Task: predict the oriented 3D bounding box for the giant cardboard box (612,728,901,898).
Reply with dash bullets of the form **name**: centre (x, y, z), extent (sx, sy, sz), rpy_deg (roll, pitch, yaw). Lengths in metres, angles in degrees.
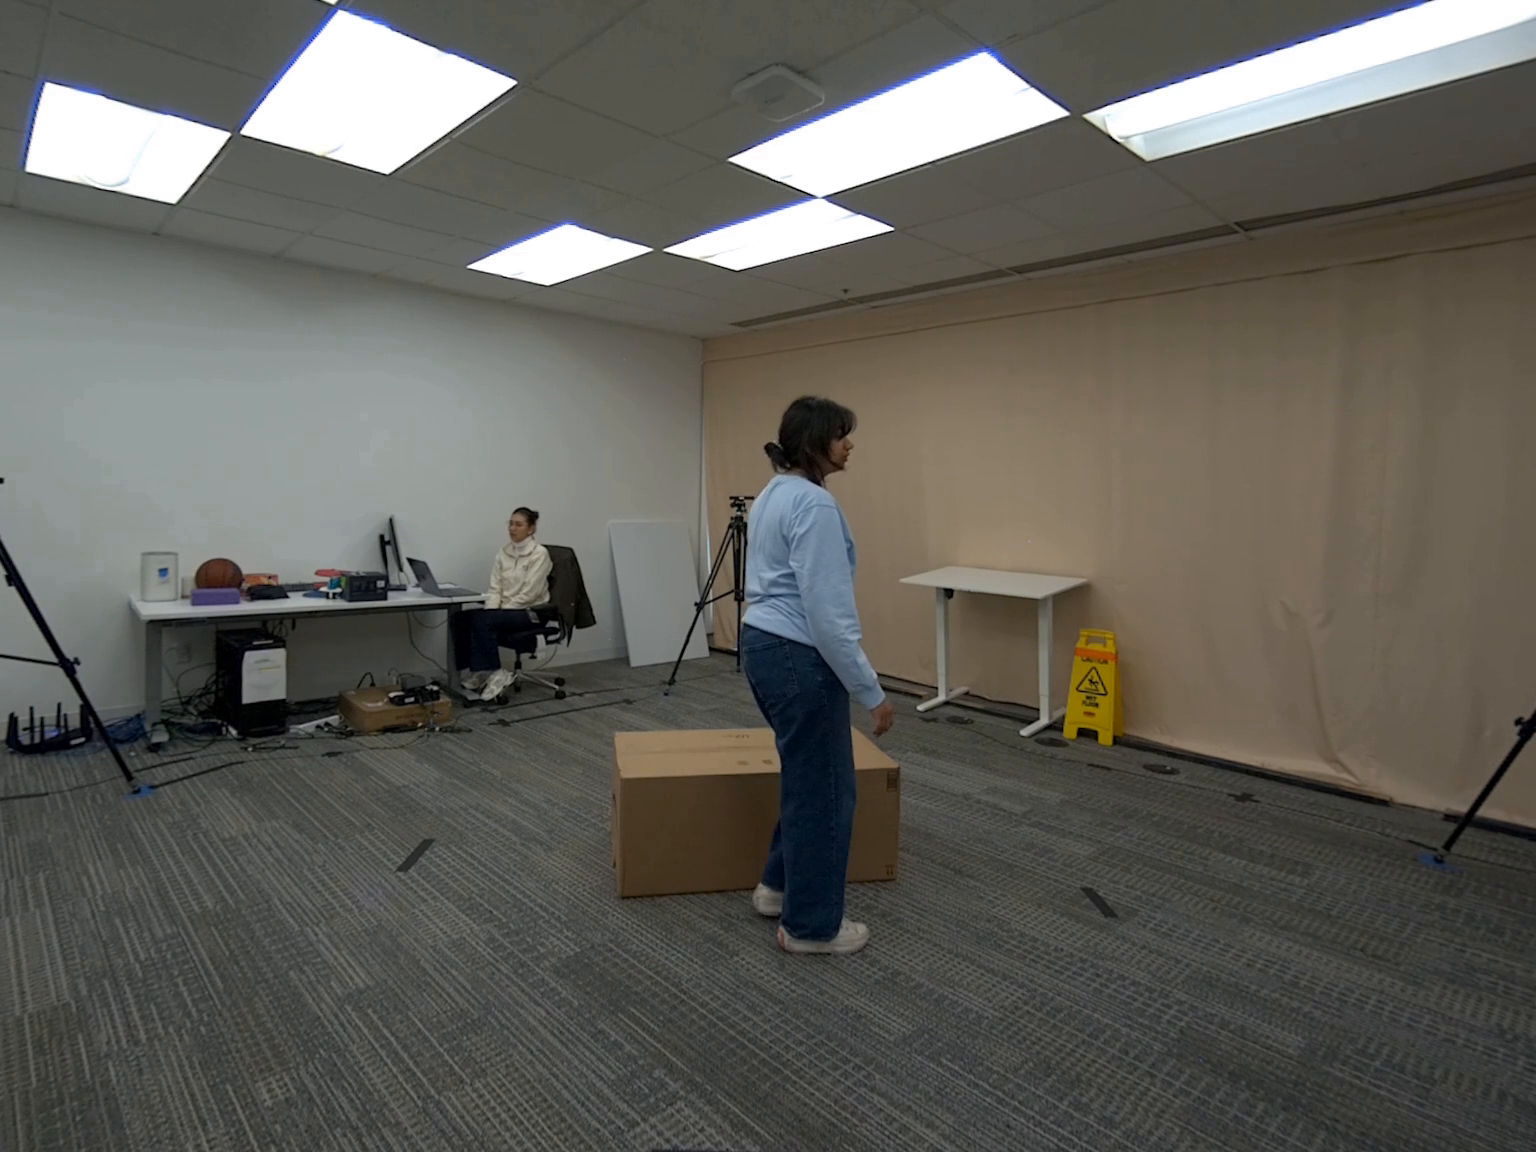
- **giant cardboard box**: centre (-0.084, 0.877, 3.267), extent (1.017, 0.425, 0.584), rpy_deg (0, 5, -11)
